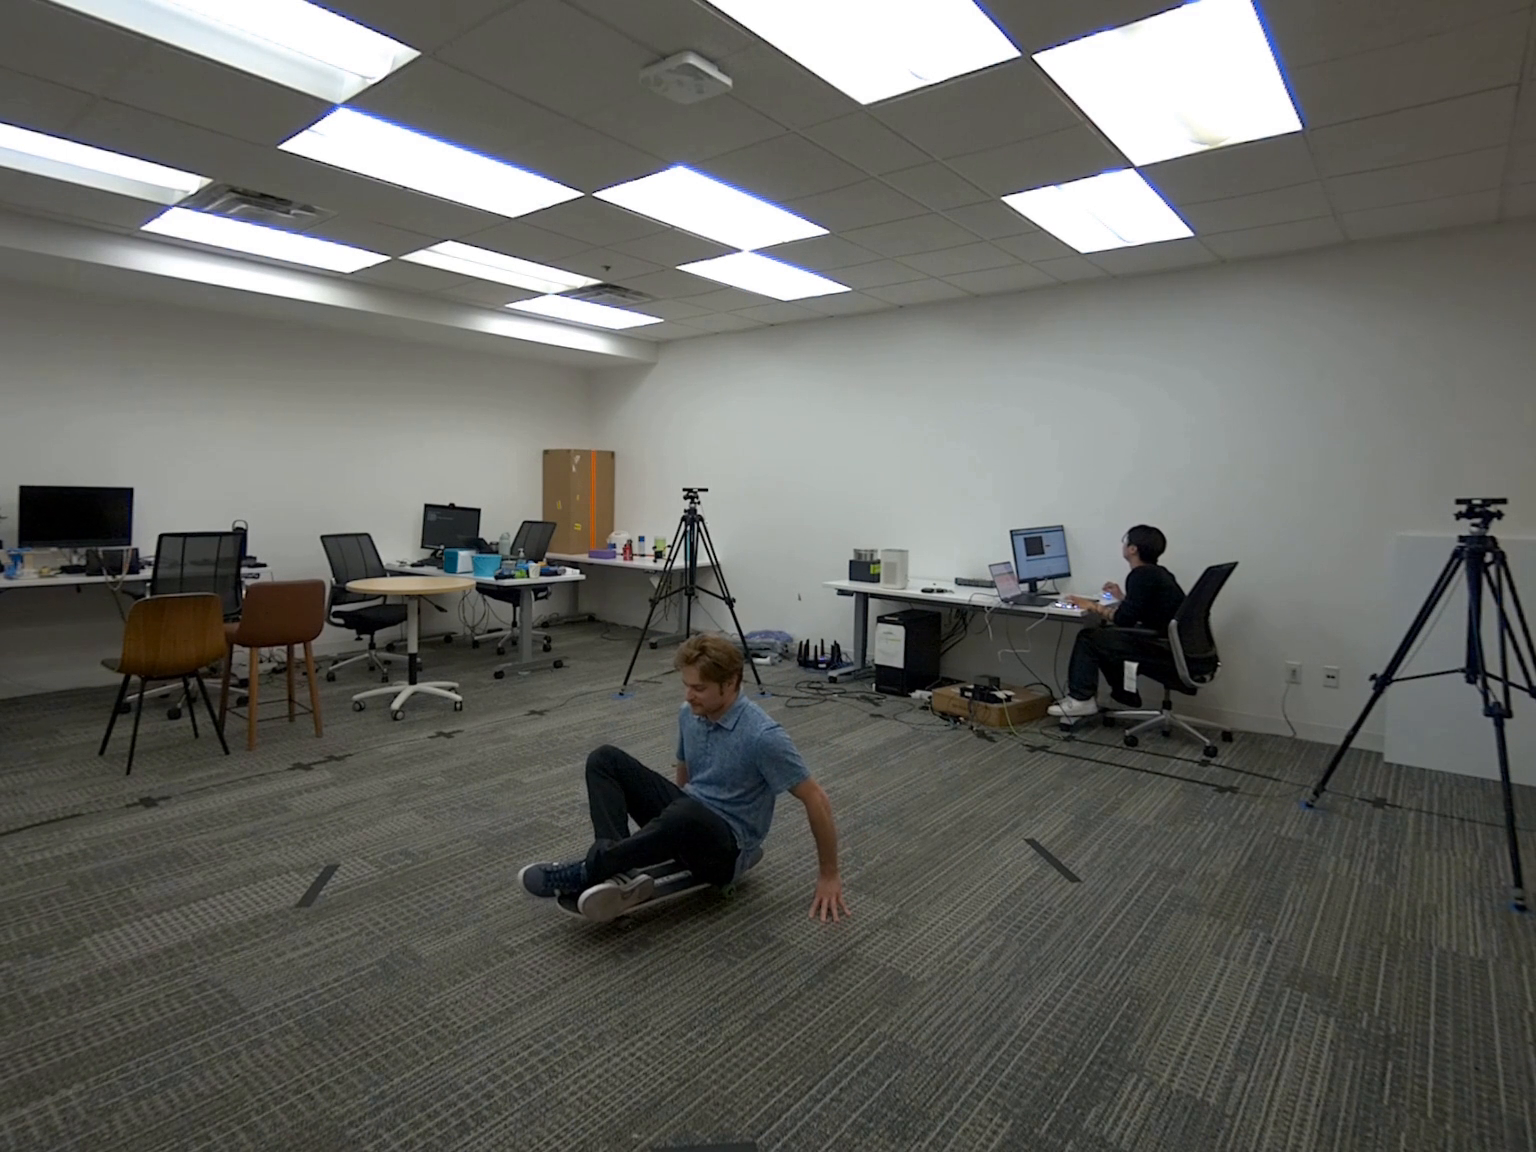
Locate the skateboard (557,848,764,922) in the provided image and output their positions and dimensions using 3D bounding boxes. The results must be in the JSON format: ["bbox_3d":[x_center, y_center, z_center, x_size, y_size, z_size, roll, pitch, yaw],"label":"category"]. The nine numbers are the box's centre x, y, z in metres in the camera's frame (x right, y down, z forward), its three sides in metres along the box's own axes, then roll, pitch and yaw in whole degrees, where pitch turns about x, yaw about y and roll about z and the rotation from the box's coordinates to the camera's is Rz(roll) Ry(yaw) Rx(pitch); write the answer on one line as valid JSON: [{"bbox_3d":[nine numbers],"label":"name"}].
[{"bbox_3d":[-0.338,1.052,2.821,0.762,0.110,0.200,-2,8,-39],"label":"skateboard"}]
